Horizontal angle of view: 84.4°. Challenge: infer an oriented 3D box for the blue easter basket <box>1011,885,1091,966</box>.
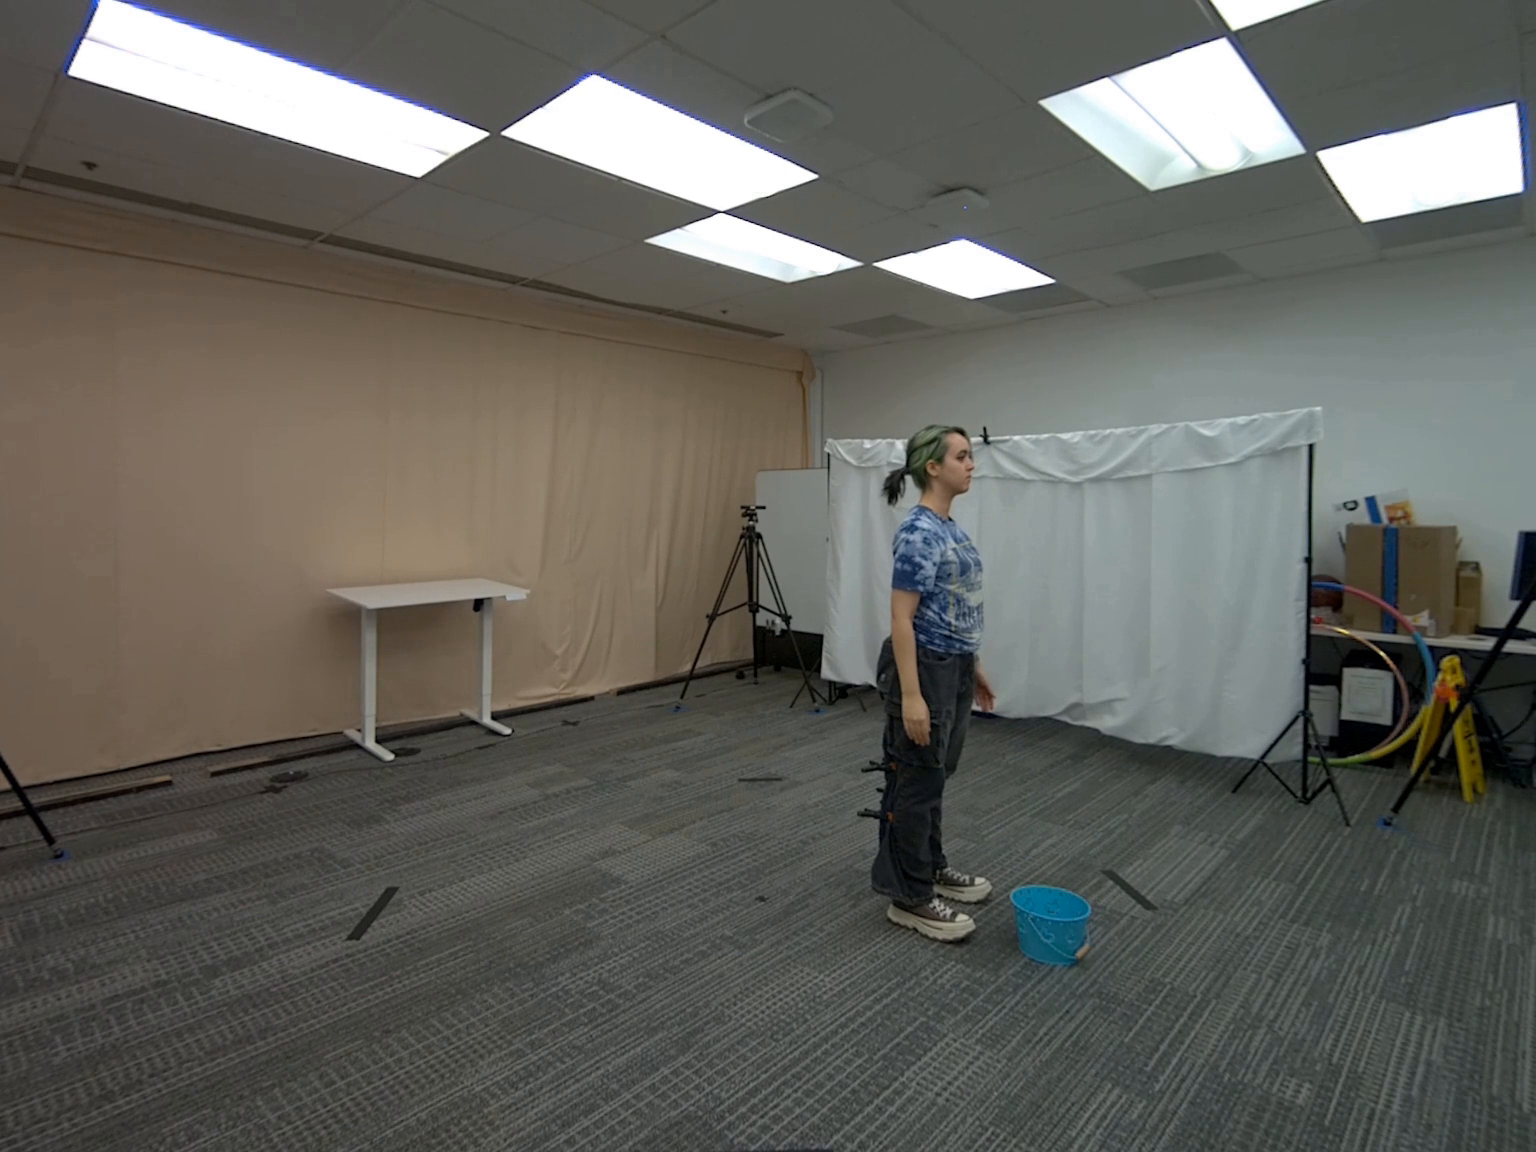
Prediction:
[{"bbox_3d":[0.888,1.093,2.625,0.243,0.155,0.244,-2,4,-2],"label":"blue easter basket"}]
